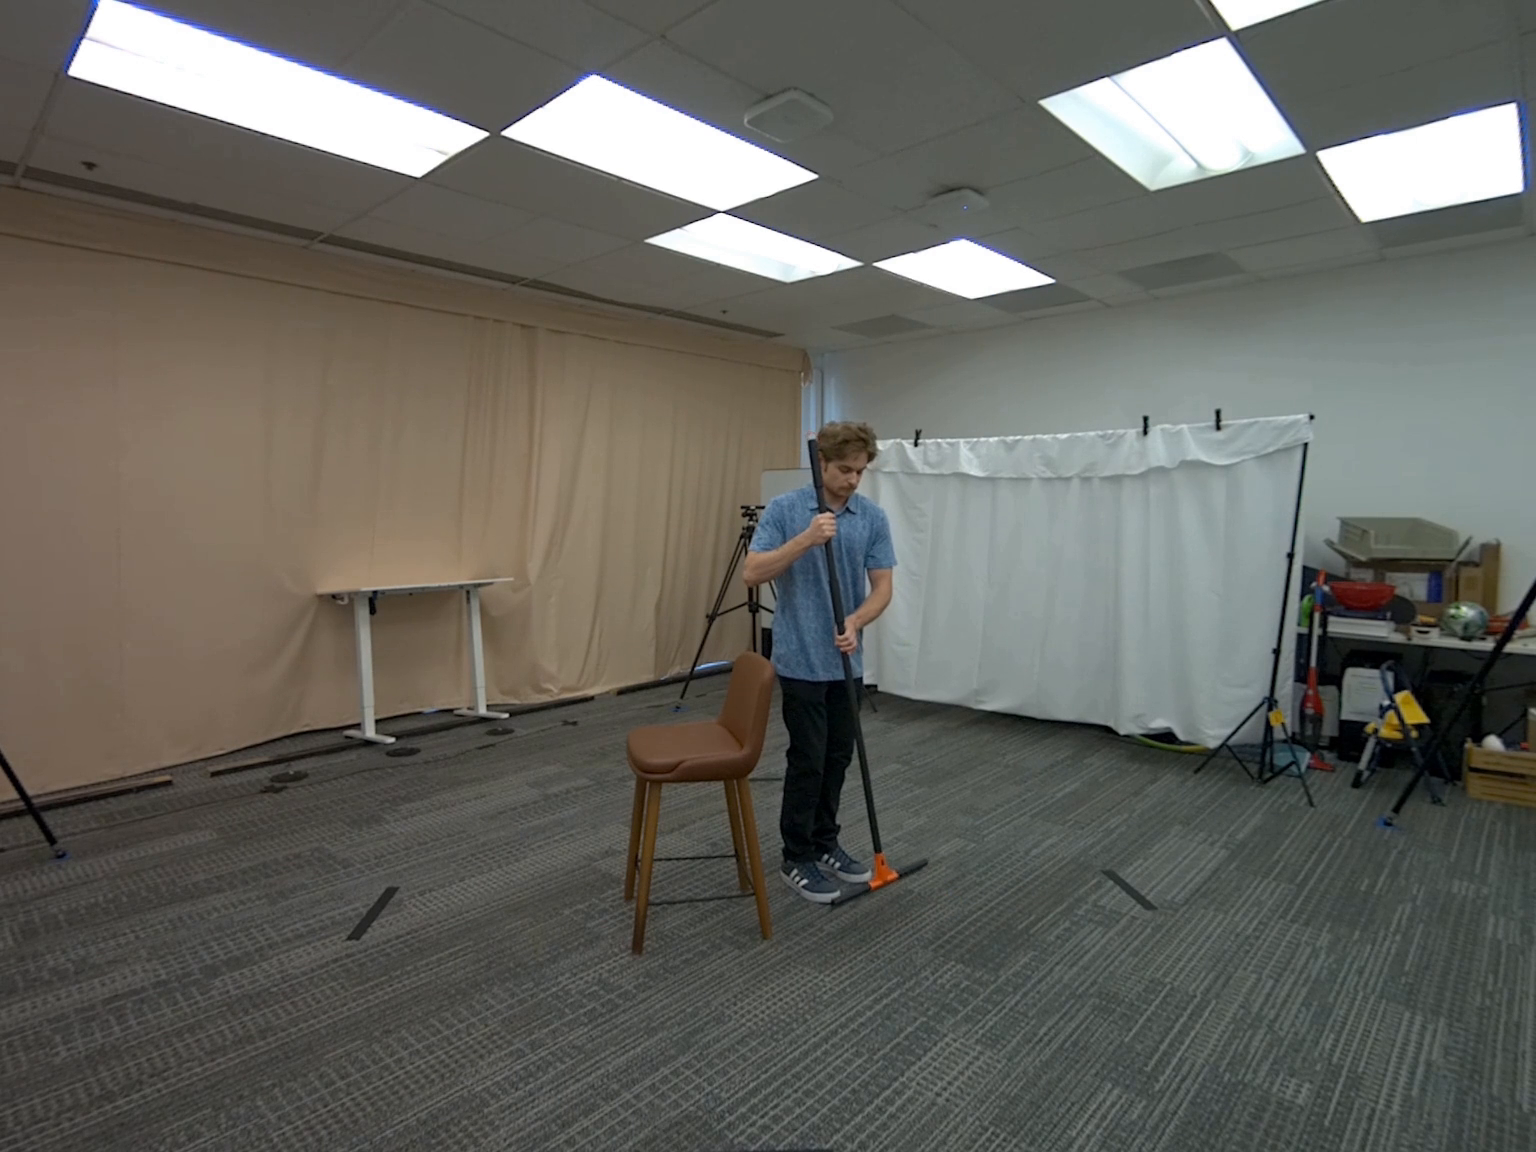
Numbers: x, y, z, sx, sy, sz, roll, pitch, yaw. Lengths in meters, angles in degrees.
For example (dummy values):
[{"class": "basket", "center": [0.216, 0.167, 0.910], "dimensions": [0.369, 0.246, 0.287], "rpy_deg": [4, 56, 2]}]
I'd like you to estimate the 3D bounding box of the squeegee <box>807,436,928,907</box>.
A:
[{"class": "squeegee", "center": [0.315, 0.287, 2.803], "dimensions": [0.425, 1.539, 0.054], "rpy_deg": [-3, -2, -36]}]
